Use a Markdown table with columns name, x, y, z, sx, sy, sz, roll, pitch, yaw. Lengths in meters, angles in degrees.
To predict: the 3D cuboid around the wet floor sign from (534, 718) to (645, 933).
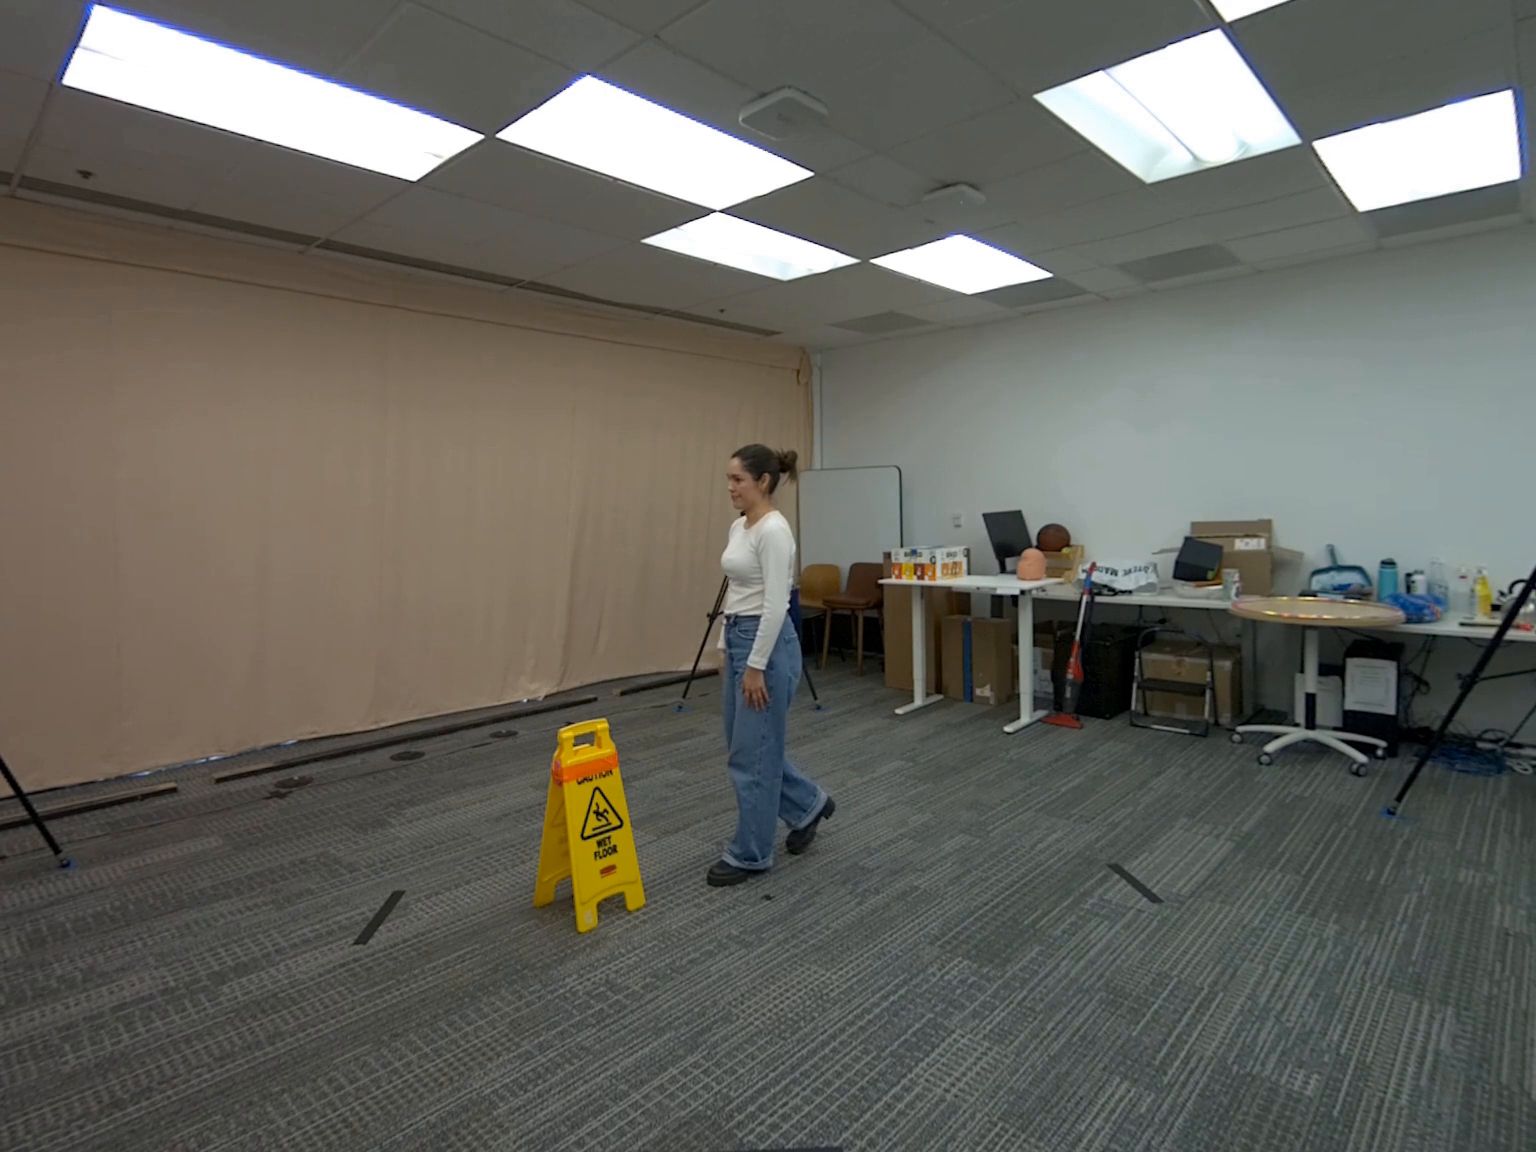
| name | x | y | z | sx | sy | sz | roll | pitch | yaw |
| --- | --- | --- | --- | --- | --- | --- | --- | --- | --- |
| wet floor sign | -0.630 | 0.835 | 2.928 | 0.299 | 0.644 | 0.274 | 2 | 5 | 44 |
